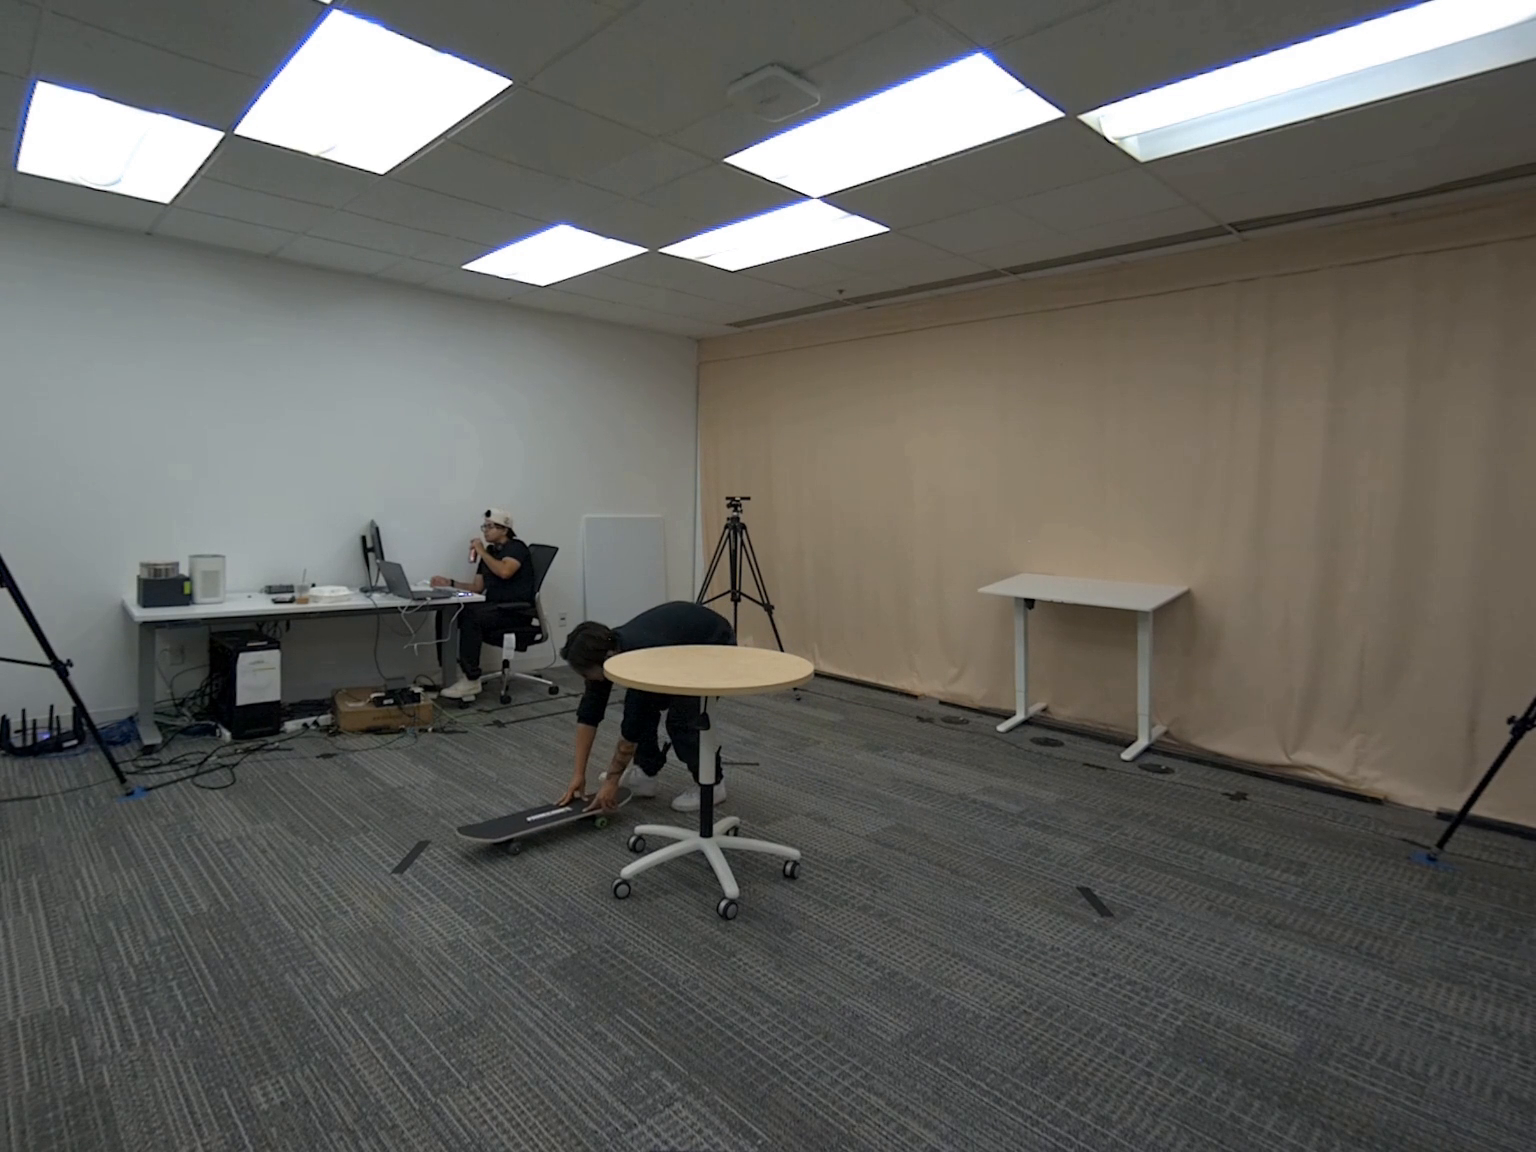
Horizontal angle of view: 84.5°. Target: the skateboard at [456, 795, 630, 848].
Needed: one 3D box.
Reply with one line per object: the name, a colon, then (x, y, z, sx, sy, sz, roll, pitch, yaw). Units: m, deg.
skateboard: (-0.906, 1.009, 3.441, 0.198, 0.110, 0.767, 5, 6, 44)
